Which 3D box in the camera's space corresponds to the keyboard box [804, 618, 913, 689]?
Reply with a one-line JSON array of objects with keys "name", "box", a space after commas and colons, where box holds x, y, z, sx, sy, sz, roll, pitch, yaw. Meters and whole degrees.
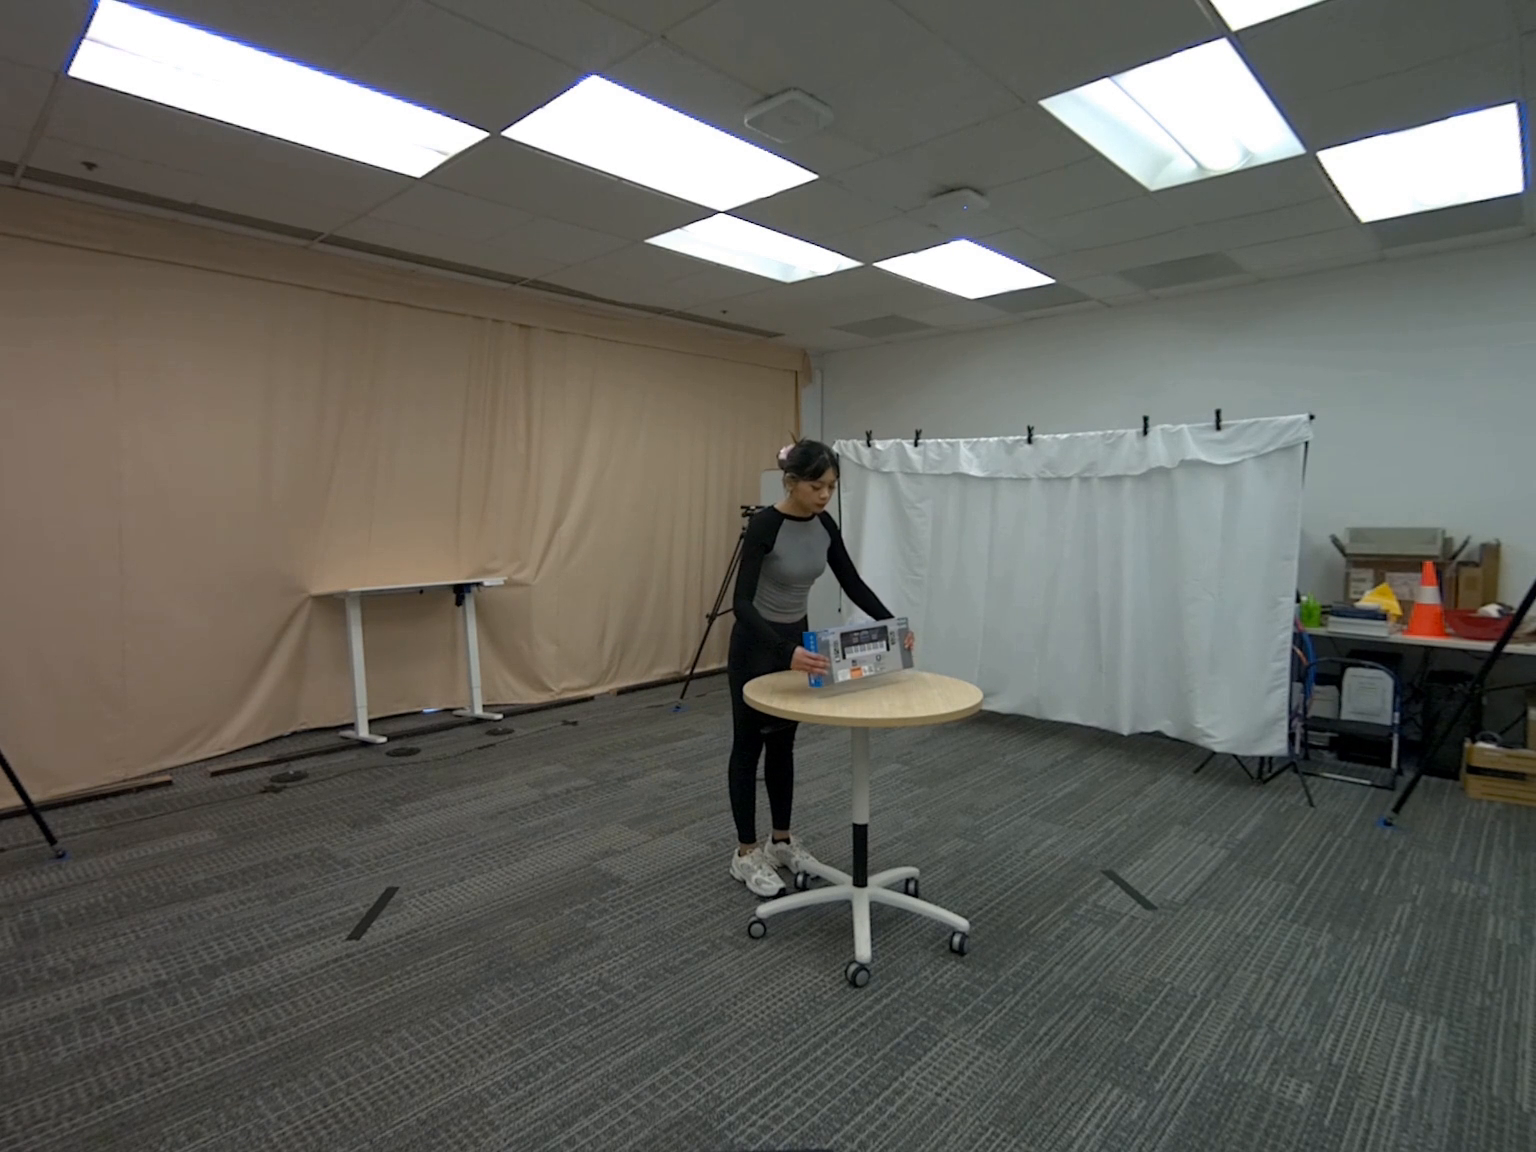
[{"name": "keyboard box", "box": [0.305, 0.240, 2.738, 0.424, 0.176, 0.061, -4, -4, -36]}]
